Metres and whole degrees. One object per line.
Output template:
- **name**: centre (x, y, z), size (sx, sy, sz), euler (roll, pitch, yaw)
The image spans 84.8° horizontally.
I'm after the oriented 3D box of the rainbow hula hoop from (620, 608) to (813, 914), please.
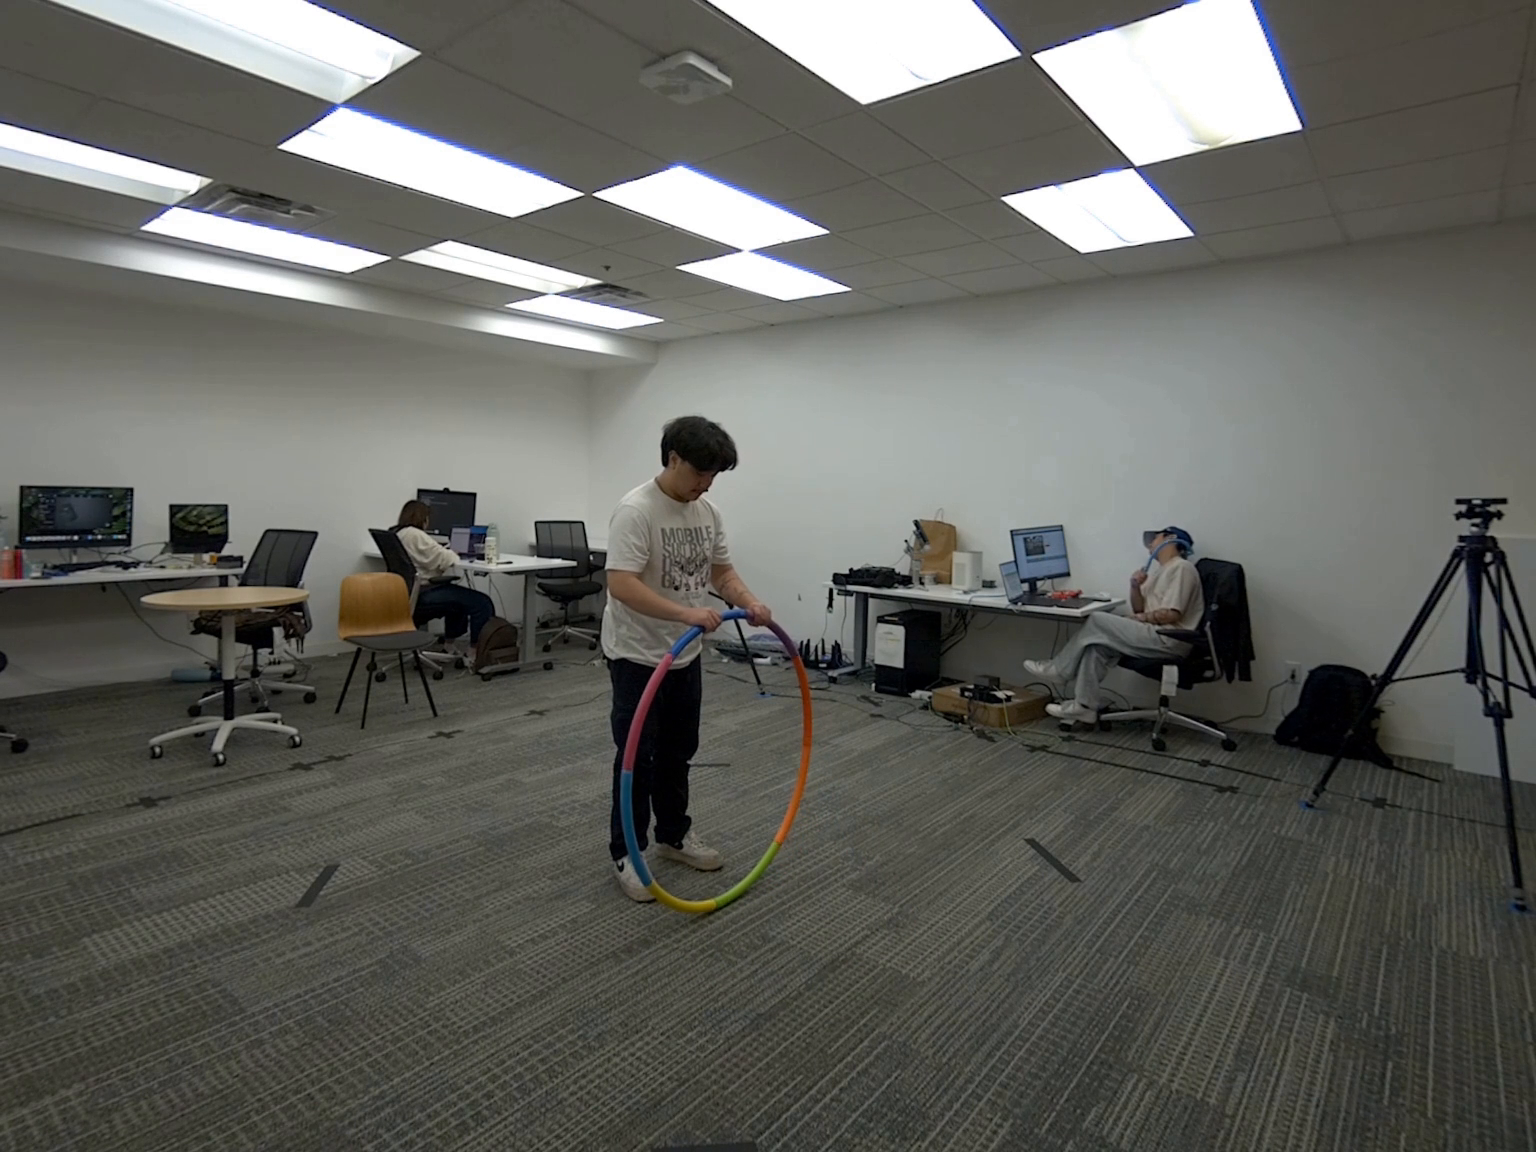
- **rainbow hula hoop**: centre (-0.138, 0.604, 2.837), size (0.053, 0.983, 0.956), euler (2, 4, 39)
